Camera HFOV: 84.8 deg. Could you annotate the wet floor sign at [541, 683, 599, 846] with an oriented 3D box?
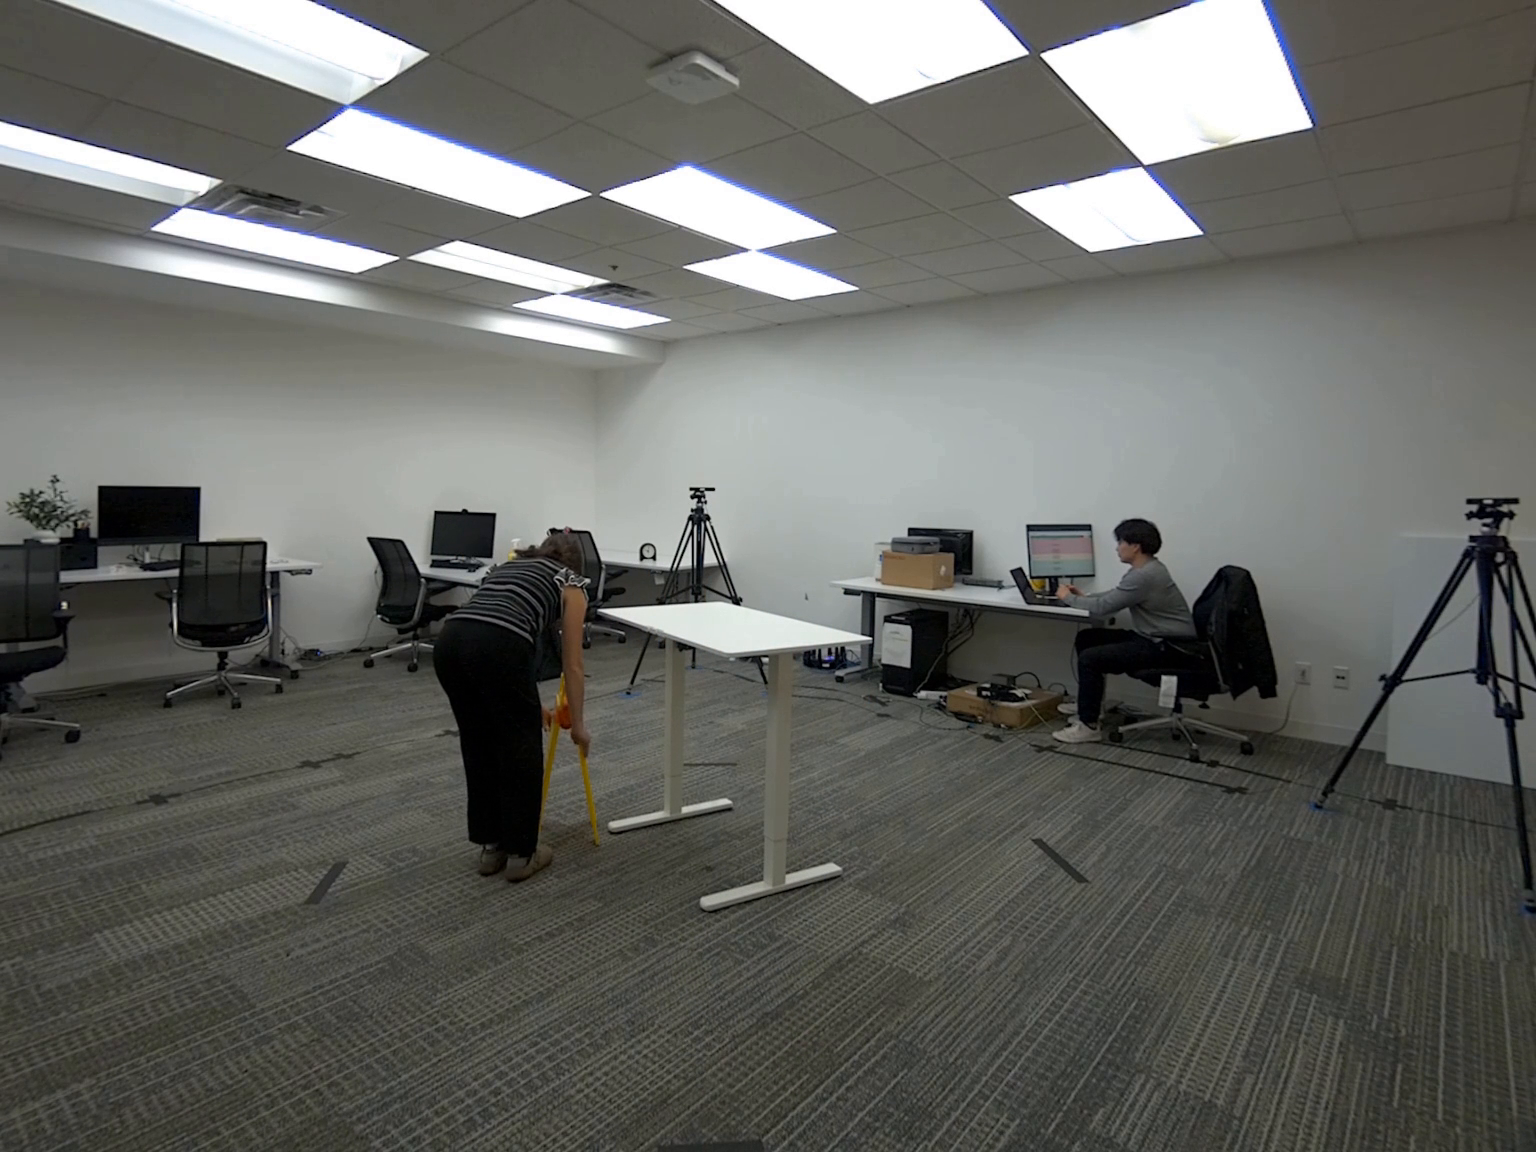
[{"bbox_3d":[-0.824,0.704,3.383,0.285,0.644,0.287,-1,4,-15],"label":"wet floor sign"}]
